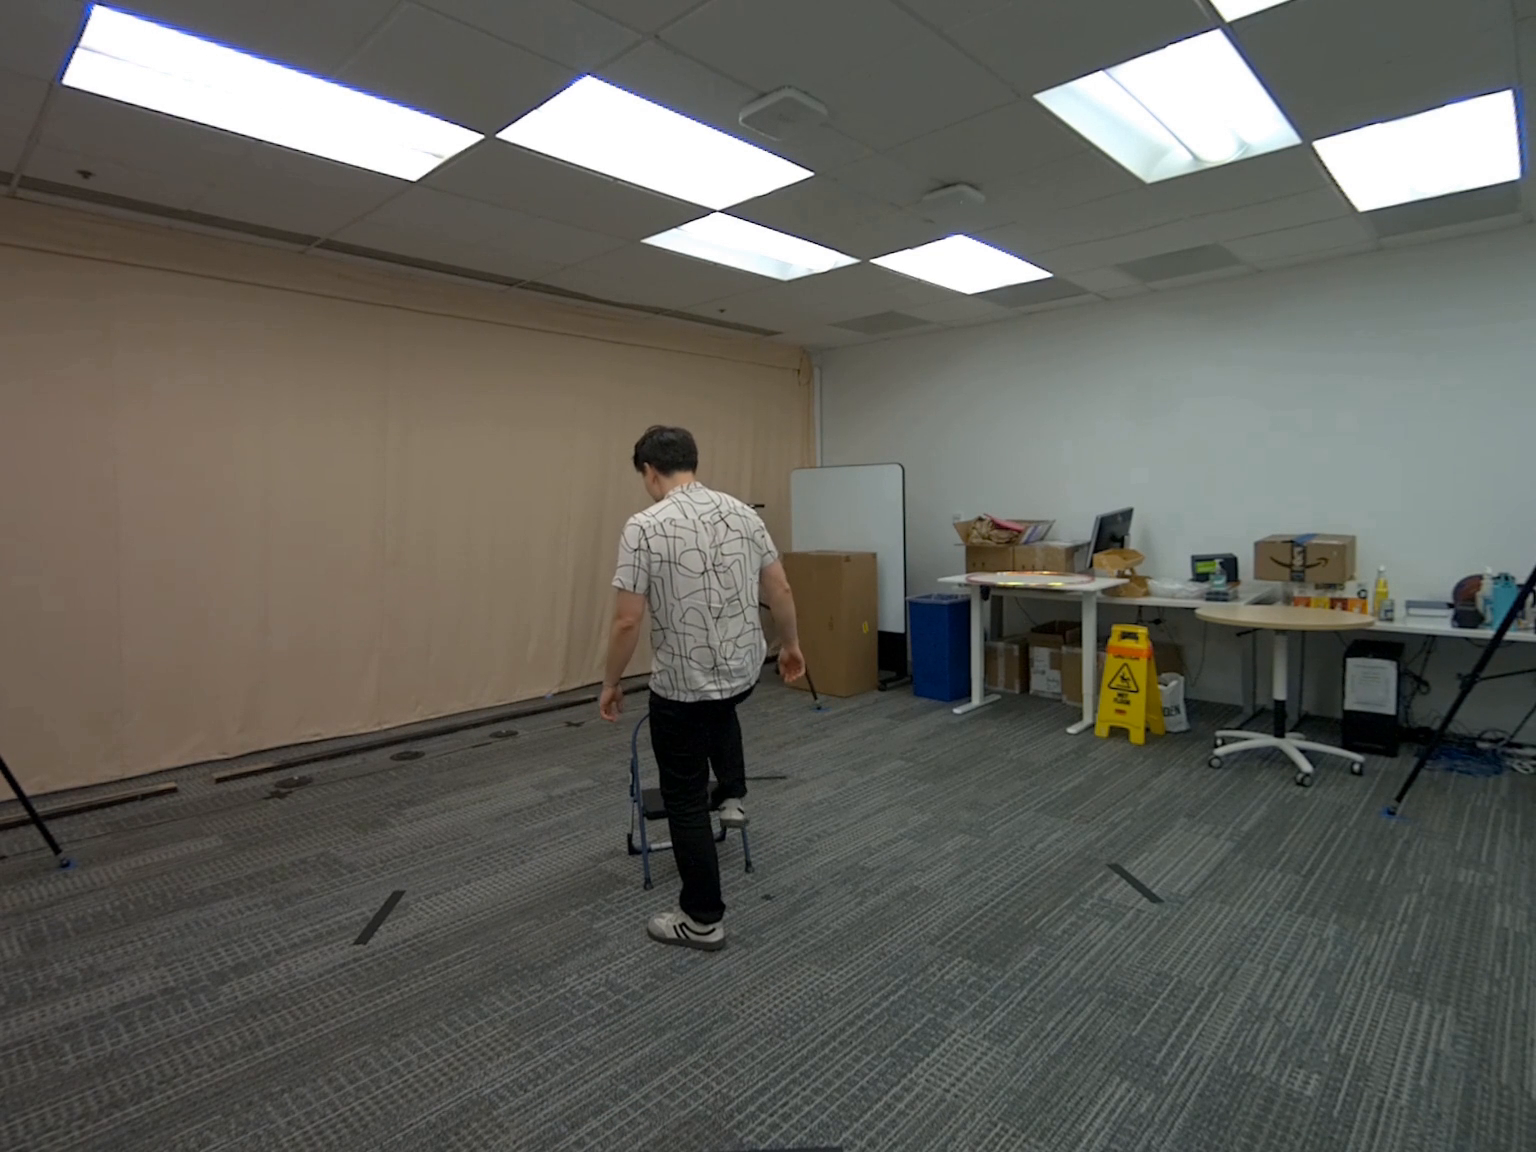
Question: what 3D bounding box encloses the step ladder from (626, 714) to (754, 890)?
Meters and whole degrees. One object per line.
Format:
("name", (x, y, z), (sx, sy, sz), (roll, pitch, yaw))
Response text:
("step ladder", (-0.317, 0.819, 3.278), (0.422, 0.605, 0.357), (-3, 4, -20))
